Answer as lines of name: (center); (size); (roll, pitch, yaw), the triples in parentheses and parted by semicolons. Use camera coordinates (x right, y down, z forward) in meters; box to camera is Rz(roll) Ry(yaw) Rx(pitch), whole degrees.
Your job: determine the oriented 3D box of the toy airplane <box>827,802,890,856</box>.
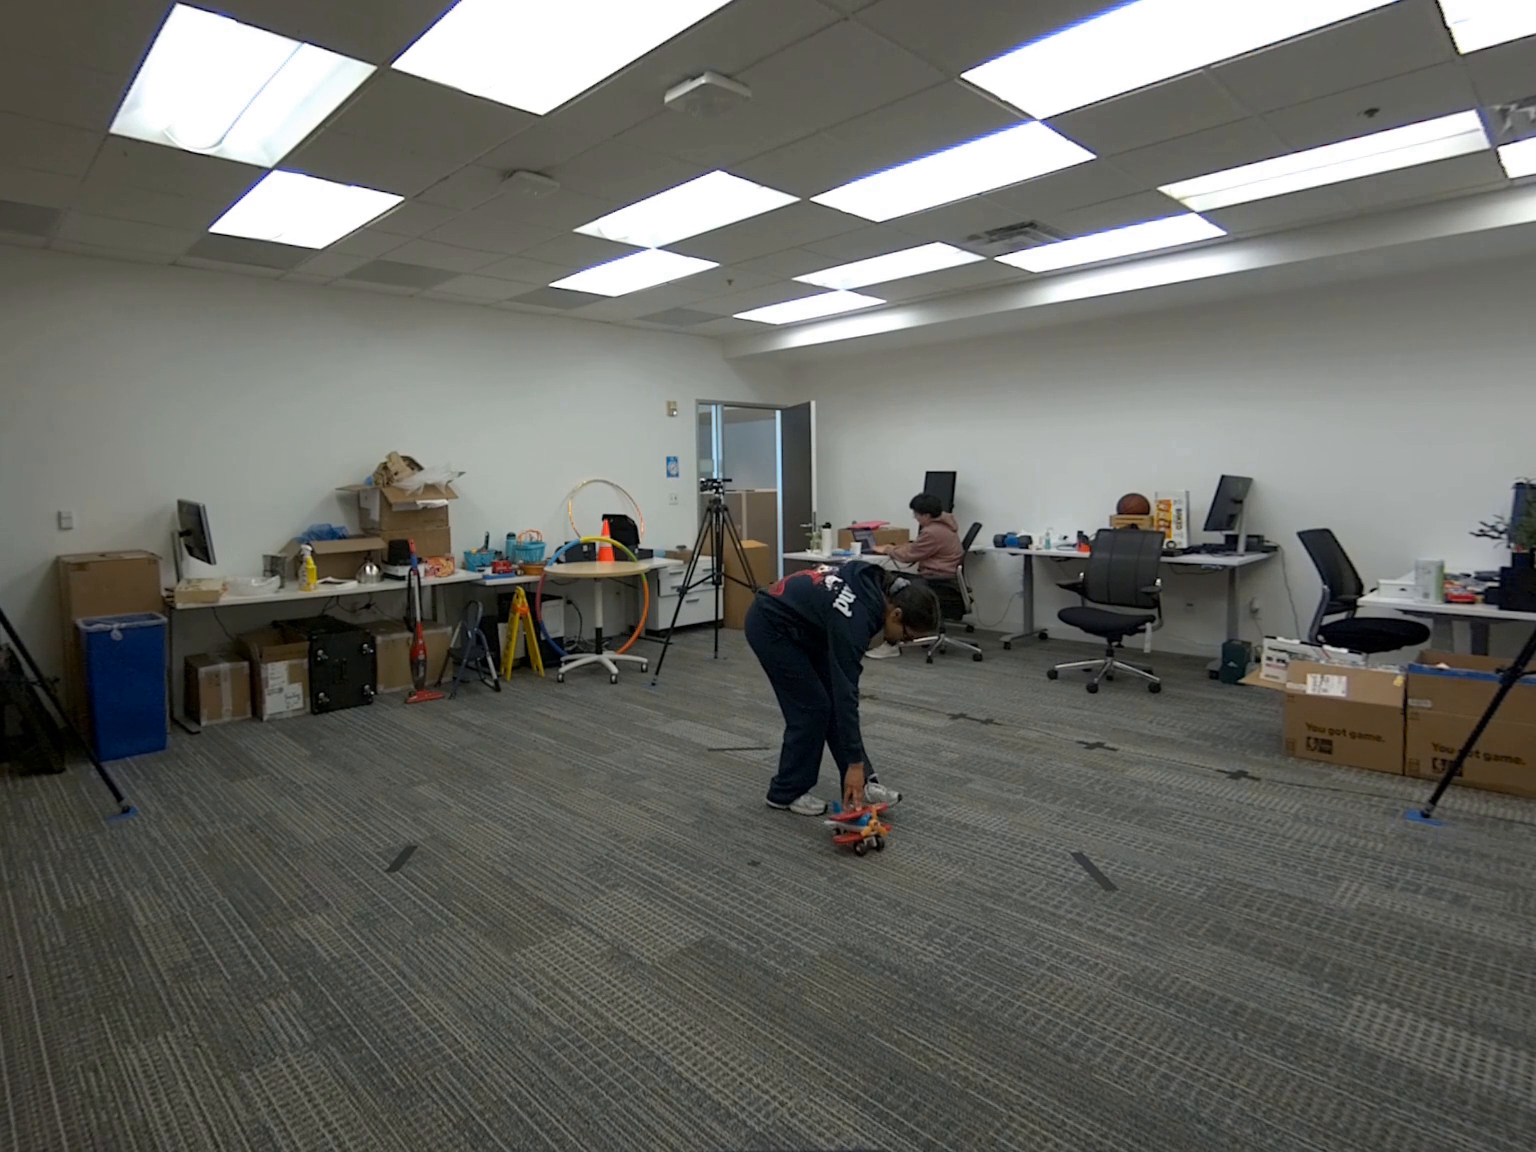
toy airplane: (0.320, 0.952, 3.241); (0.266, 0.156, 0.246); (4, 7, 30)
